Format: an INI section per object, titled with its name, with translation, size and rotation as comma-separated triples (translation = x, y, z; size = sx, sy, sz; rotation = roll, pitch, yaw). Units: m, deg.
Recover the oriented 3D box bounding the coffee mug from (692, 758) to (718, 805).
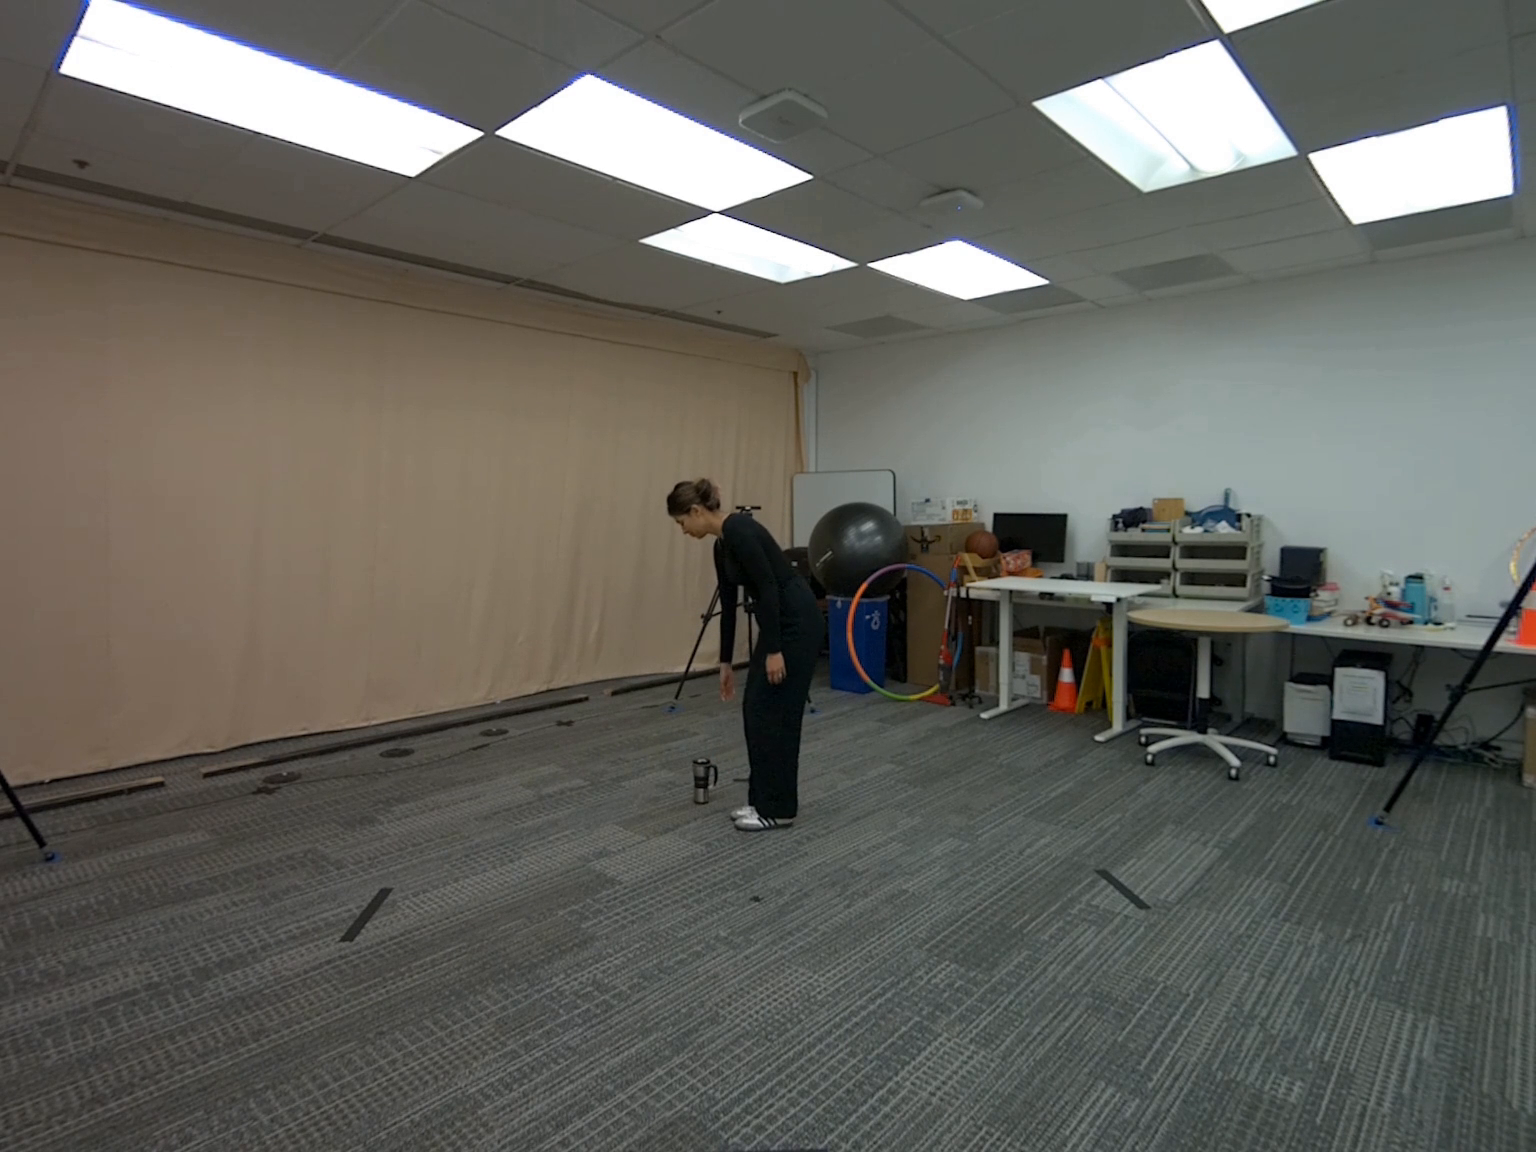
[coffee mug]
translation = -0.300, 0.972, 3.962
size = 0.085, 0.203, 0.126
rotation = 5, -6, -43
